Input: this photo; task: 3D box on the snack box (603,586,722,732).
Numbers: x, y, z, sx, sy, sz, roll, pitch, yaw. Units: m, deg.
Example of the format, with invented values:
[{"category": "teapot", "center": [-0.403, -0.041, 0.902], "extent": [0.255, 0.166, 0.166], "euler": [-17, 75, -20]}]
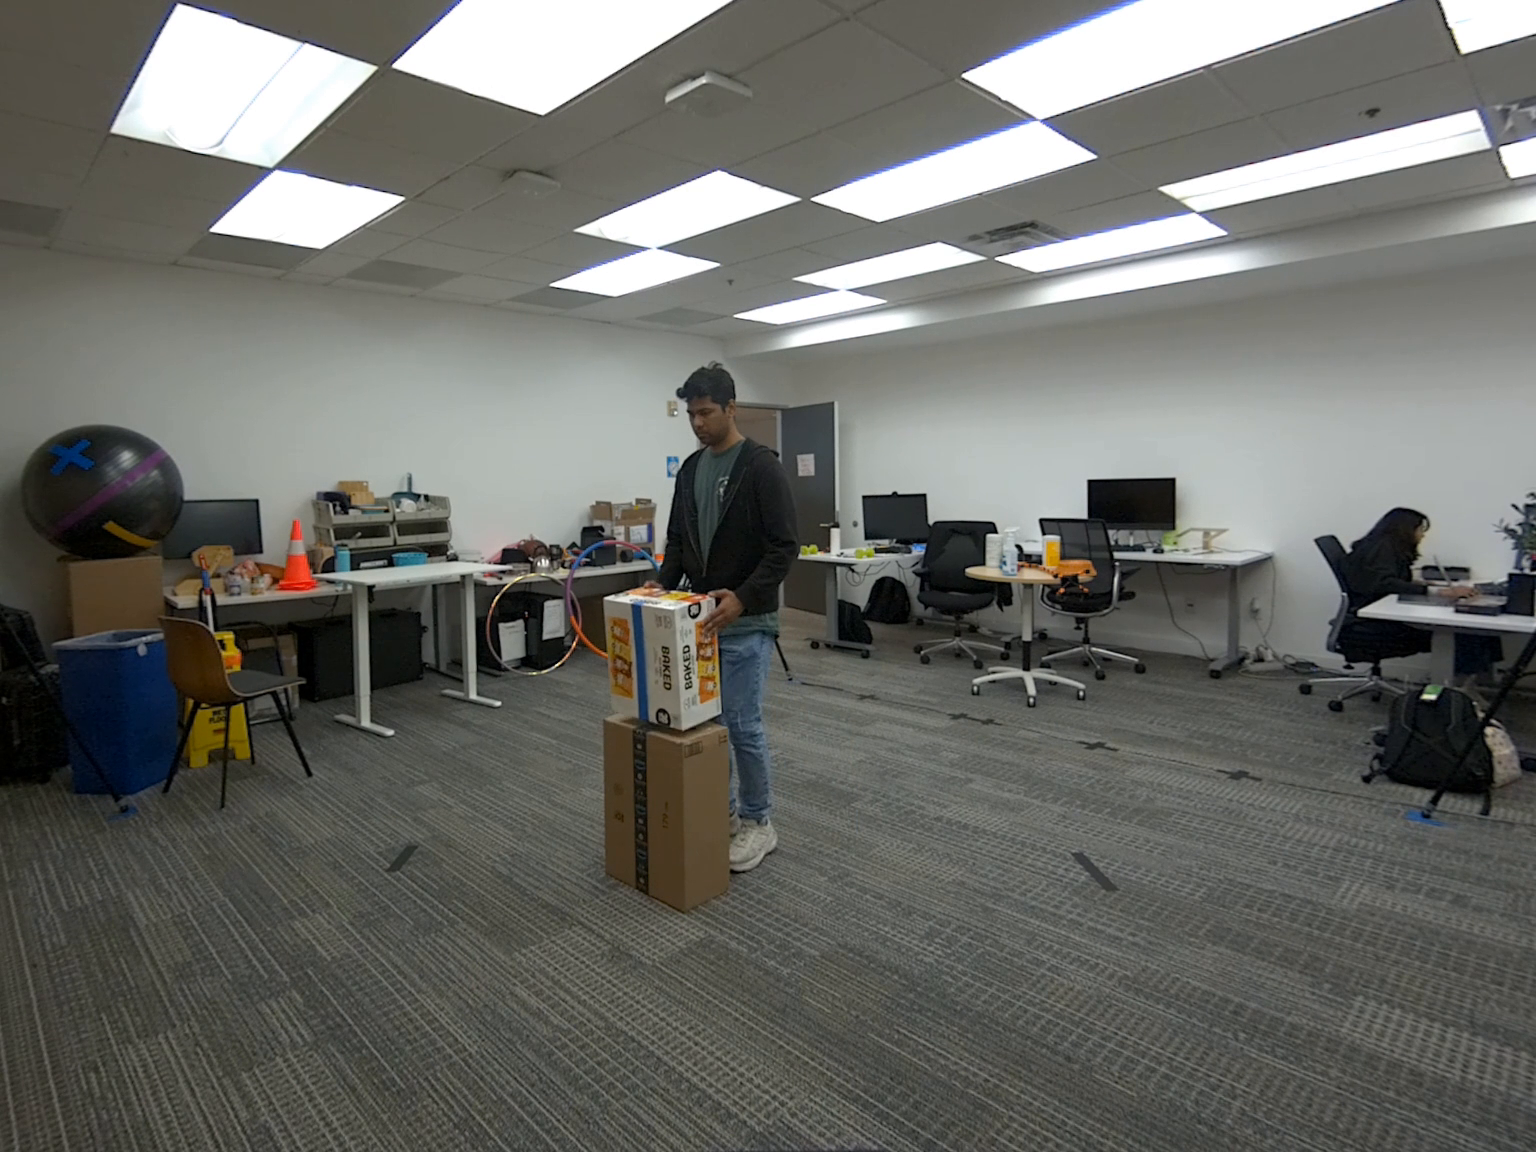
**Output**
[{"category": "snack box", "center": [-0.356, 0.253, 2.914], "extent": [0.351, 0.402, 0.201], "euler": [5, 11, 40]}]
